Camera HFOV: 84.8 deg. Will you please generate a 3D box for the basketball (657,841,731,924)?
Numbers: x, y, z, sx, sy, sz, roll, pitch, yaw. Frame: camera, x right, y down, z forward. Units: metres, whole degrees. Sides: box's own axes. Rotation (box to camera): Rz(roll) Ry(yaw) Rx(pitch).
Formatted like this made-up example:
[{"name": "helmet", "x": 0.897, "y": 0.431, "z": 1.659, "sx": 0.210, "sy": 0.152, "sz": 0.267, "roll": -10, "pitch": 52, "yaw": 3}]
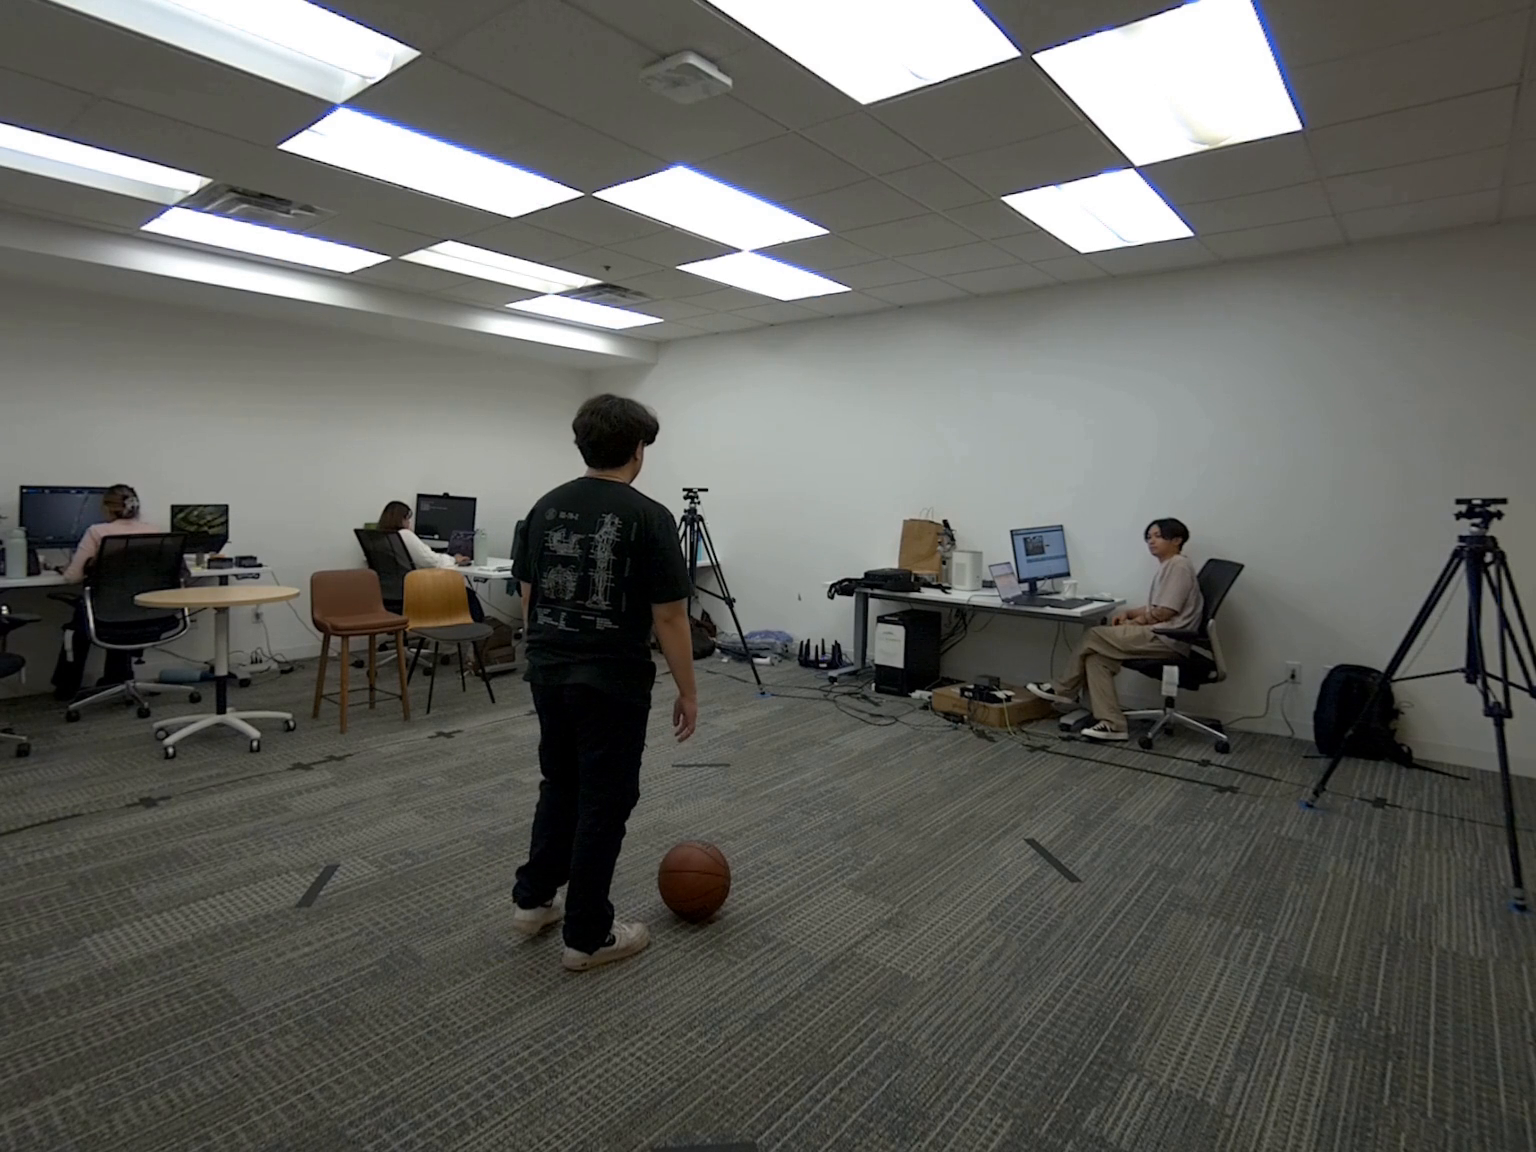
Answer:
[{"name": "basketball", "x": -0.250, "y": 0.979, "z": 2.768, "sx": 0.235, "sy": 0.235, "sz": 0.237, "roll": 1, "pitch": 4, "yaw": -2}]
